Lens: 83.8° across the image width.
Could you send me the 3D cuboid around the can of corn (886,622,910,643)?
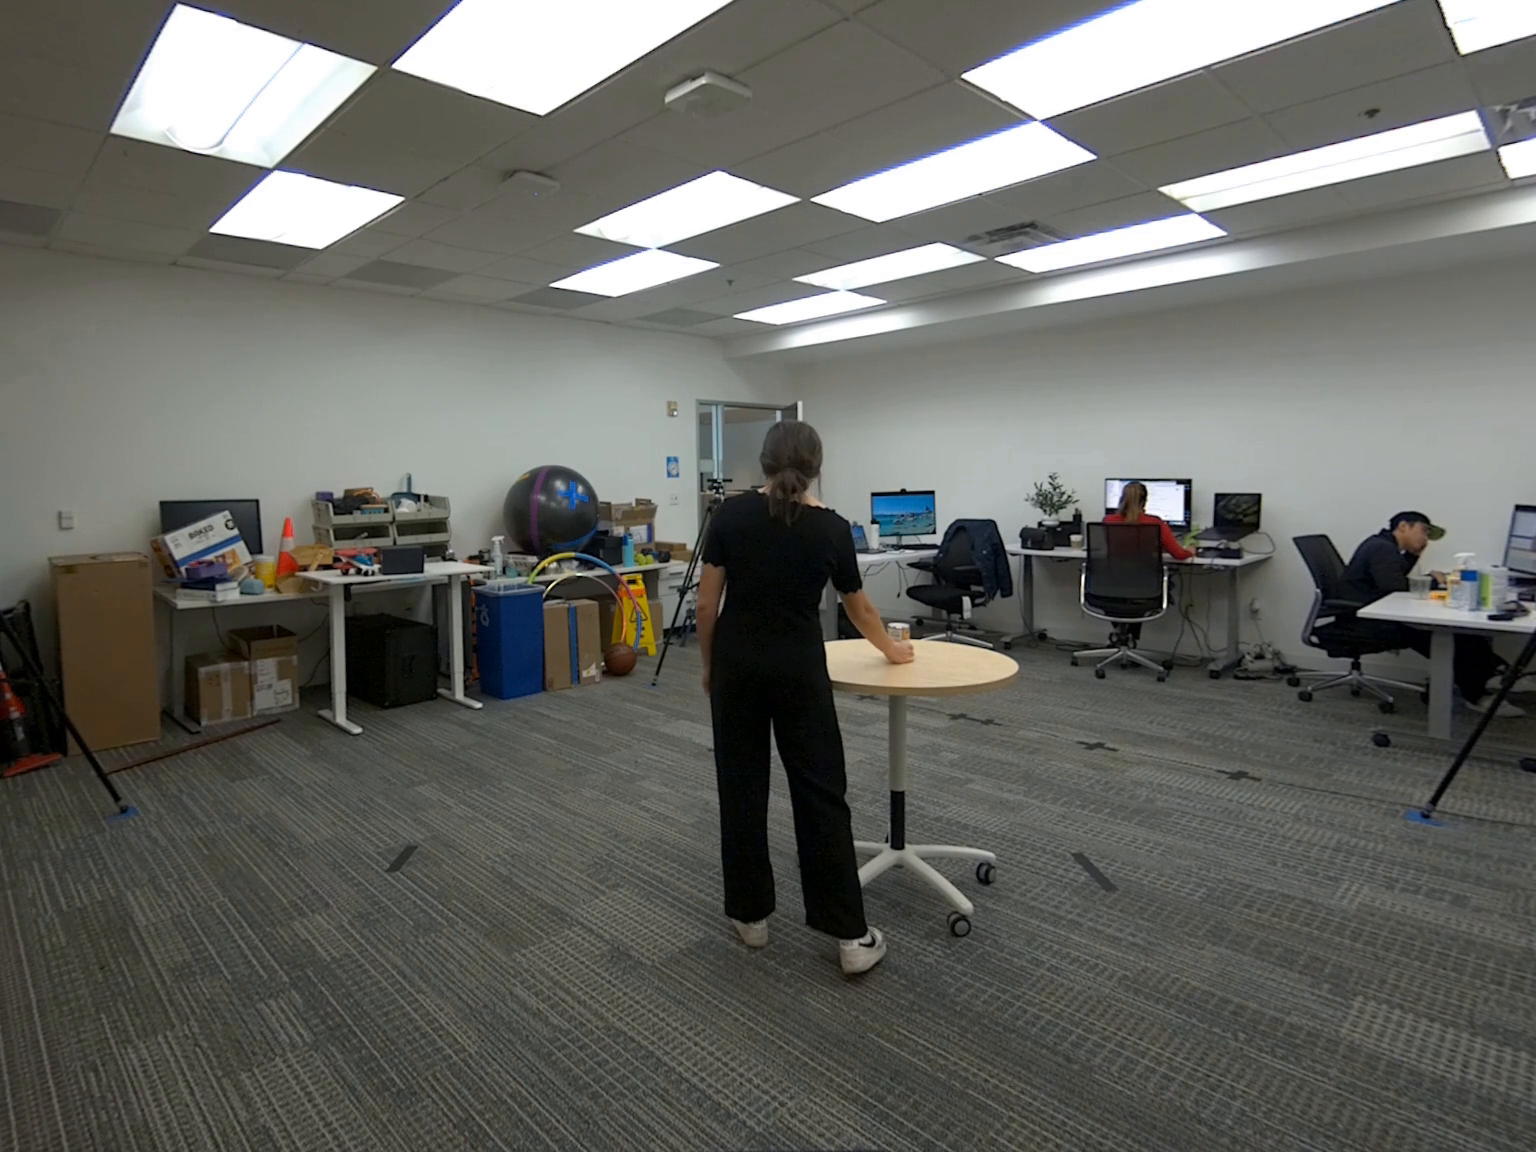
[{"bbox_3d":[0.444,0.220,2.890,0.074,0.110,0.075,0,8,-2],"label":"can of corn"}]
